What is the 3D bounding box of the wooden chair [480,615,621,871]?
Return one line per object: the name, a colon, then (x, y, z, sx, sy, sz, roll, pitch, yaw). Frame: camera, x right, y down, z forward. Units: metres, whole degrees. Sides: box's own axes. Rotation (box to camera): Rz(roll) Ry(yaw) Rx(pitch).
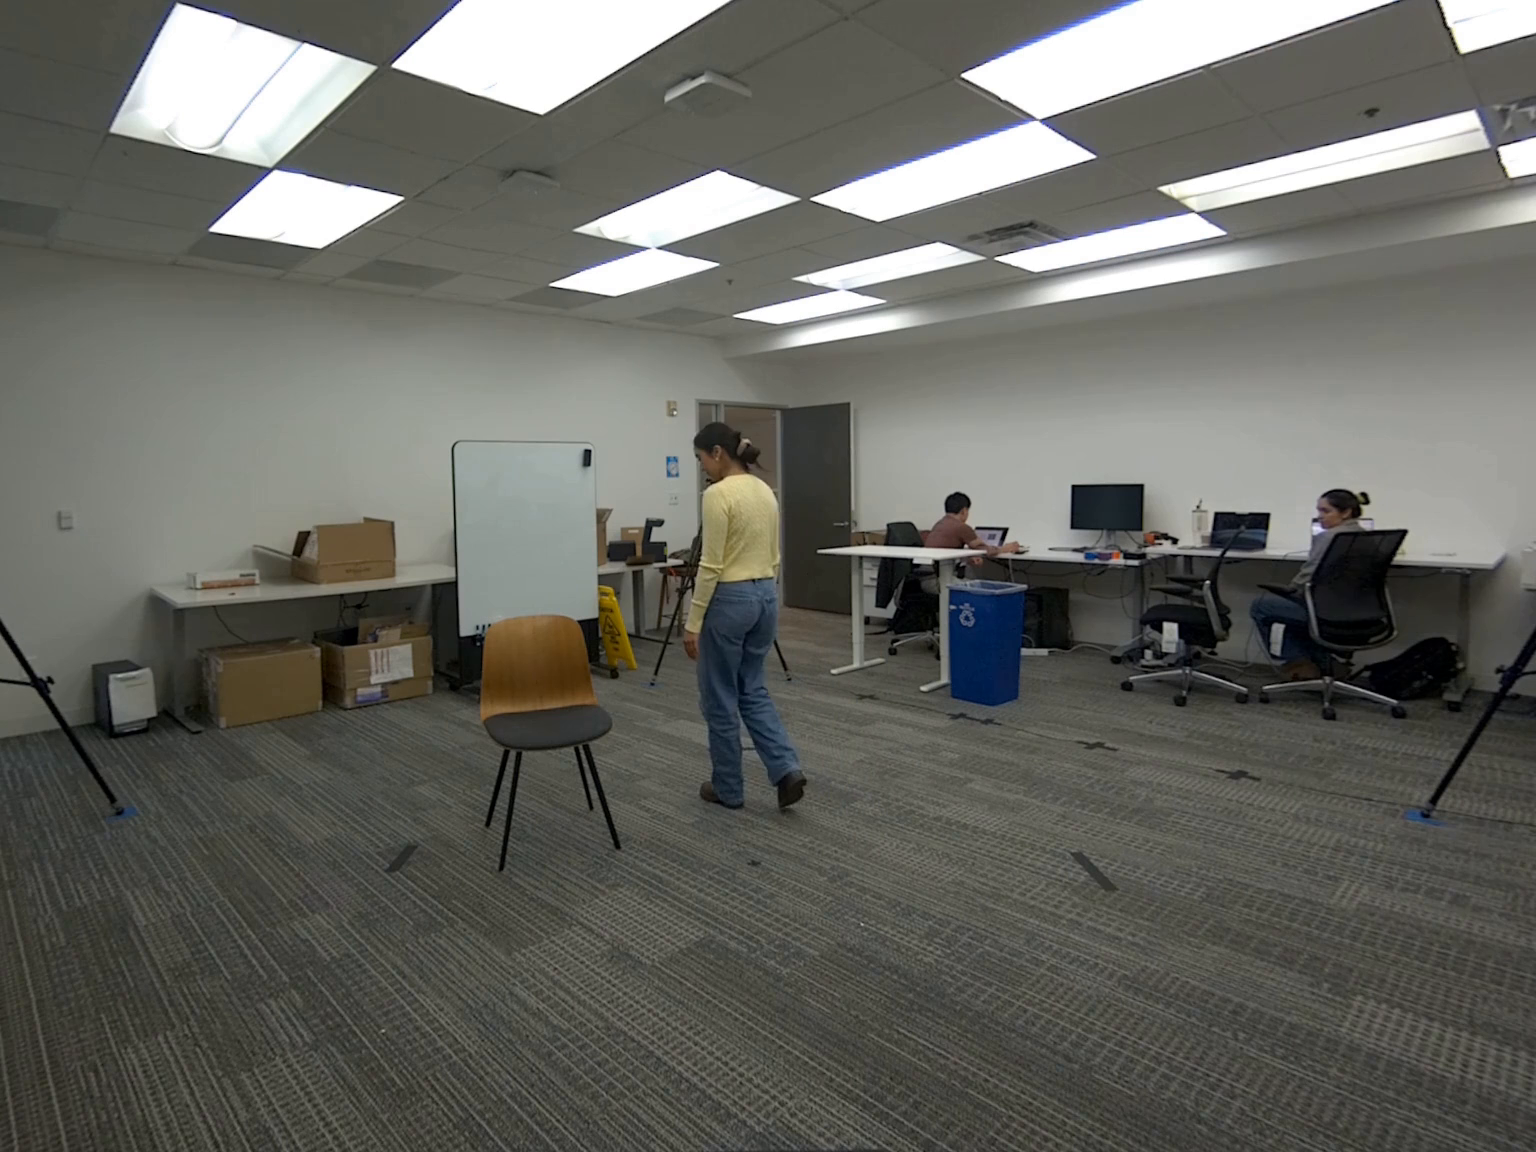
wooden chair: (-0.855, 0.607, 3.323, 0.469, 0.878, 0.533, -3, 0, -24)
